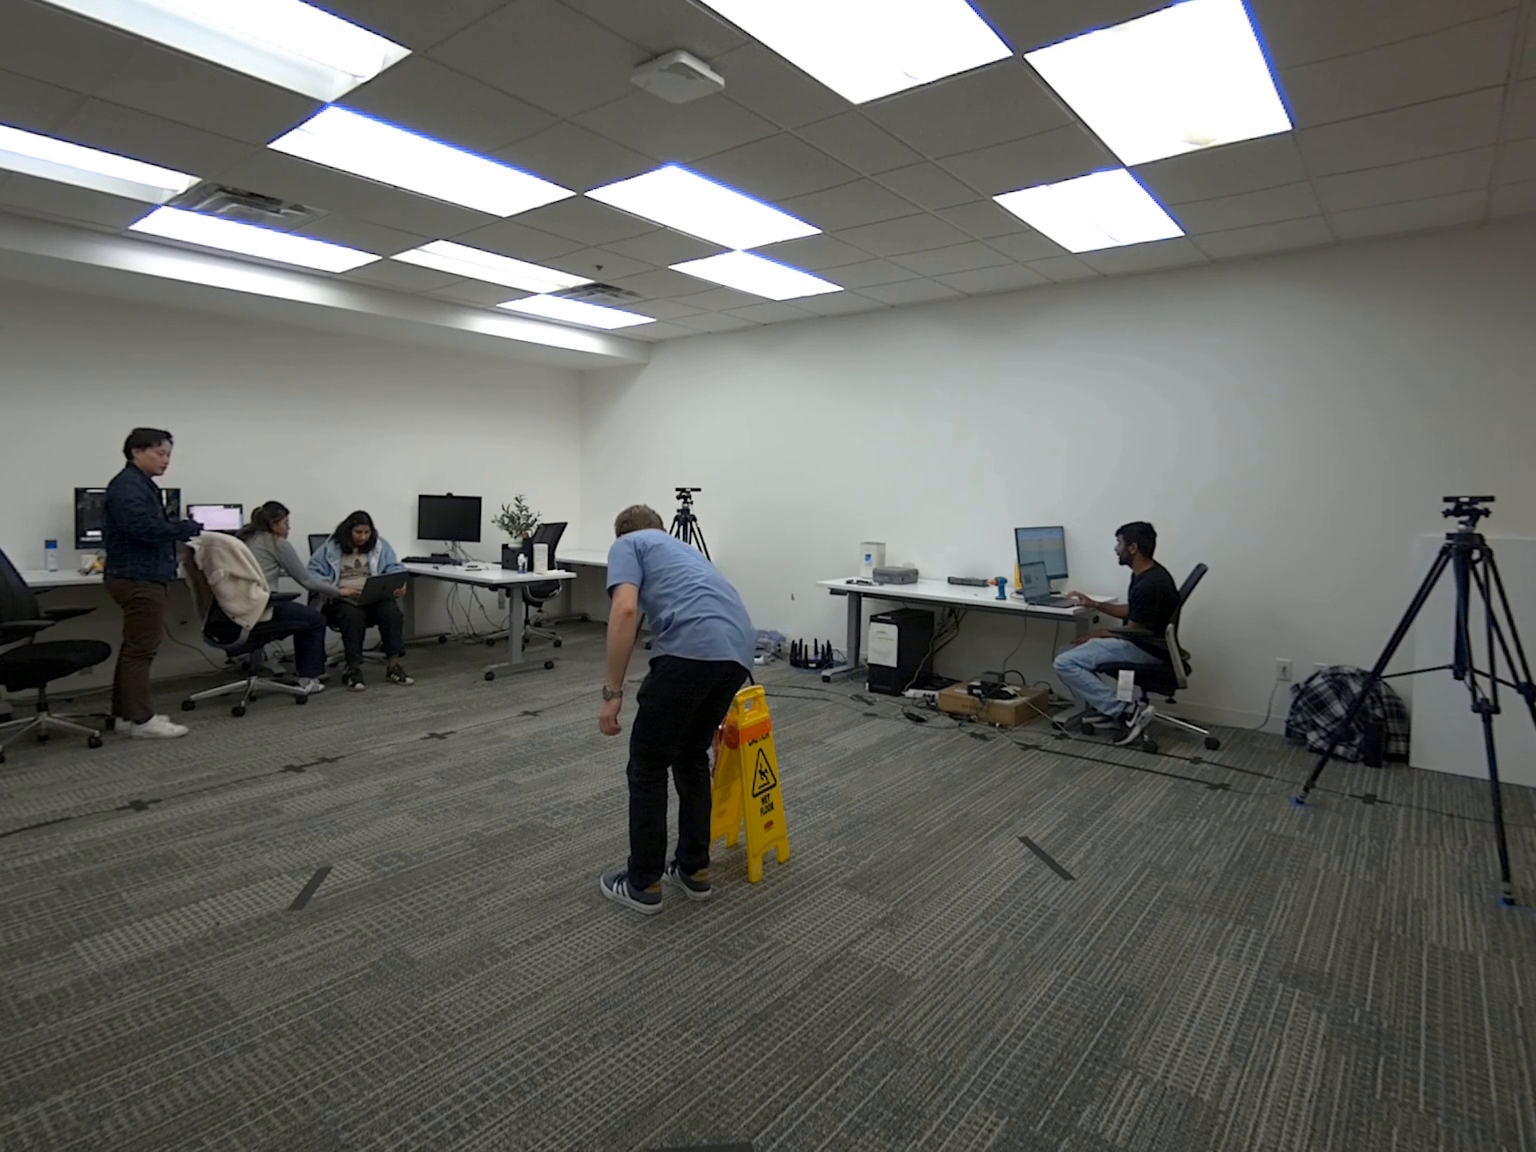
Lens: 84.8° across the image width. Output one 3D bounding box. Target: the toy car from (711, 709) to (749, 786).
[{"bbox_3d":[-0.149,0.649,3.205,0.085,0.255,0.126,2,-2,27],"label":"toy car"}]
